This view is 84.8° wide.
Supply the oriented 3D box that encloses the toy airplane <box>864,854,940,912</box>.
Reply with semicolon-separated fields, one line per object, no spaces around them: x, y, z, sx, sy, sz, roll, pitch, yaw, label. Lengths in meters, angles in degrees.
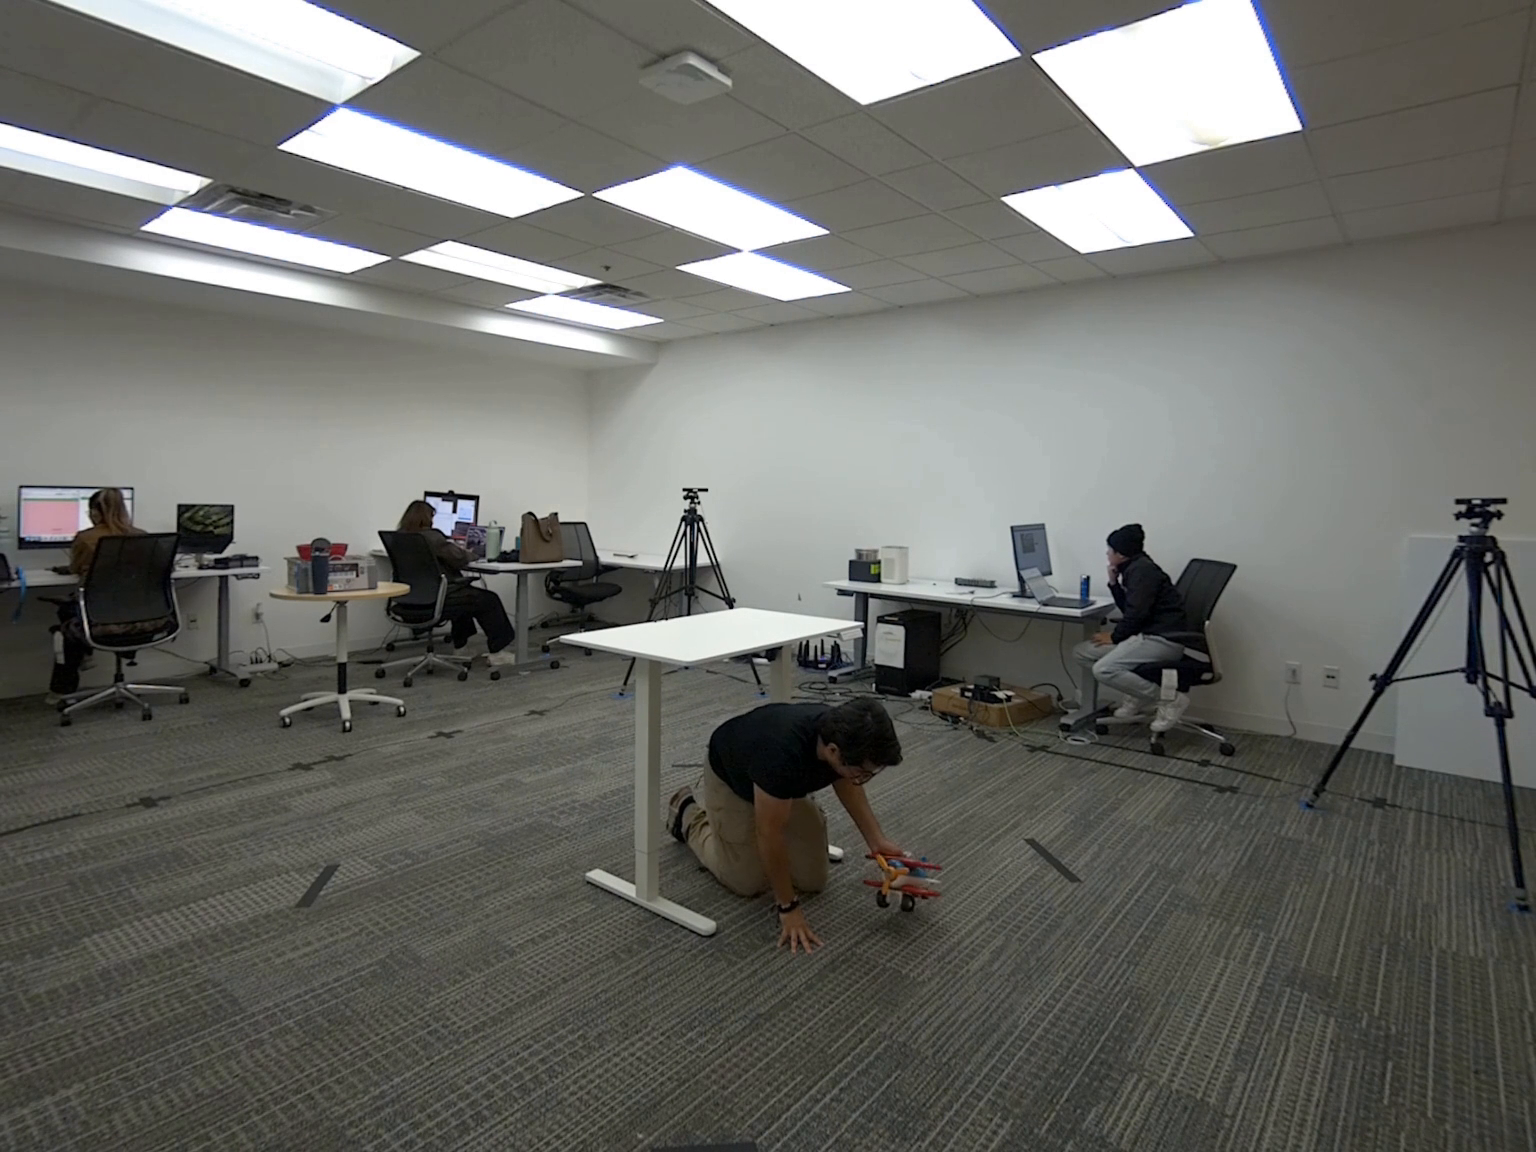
0.421;0.981;2.787;0.253;0.157;0.256;0;-4;6;toy airplane
